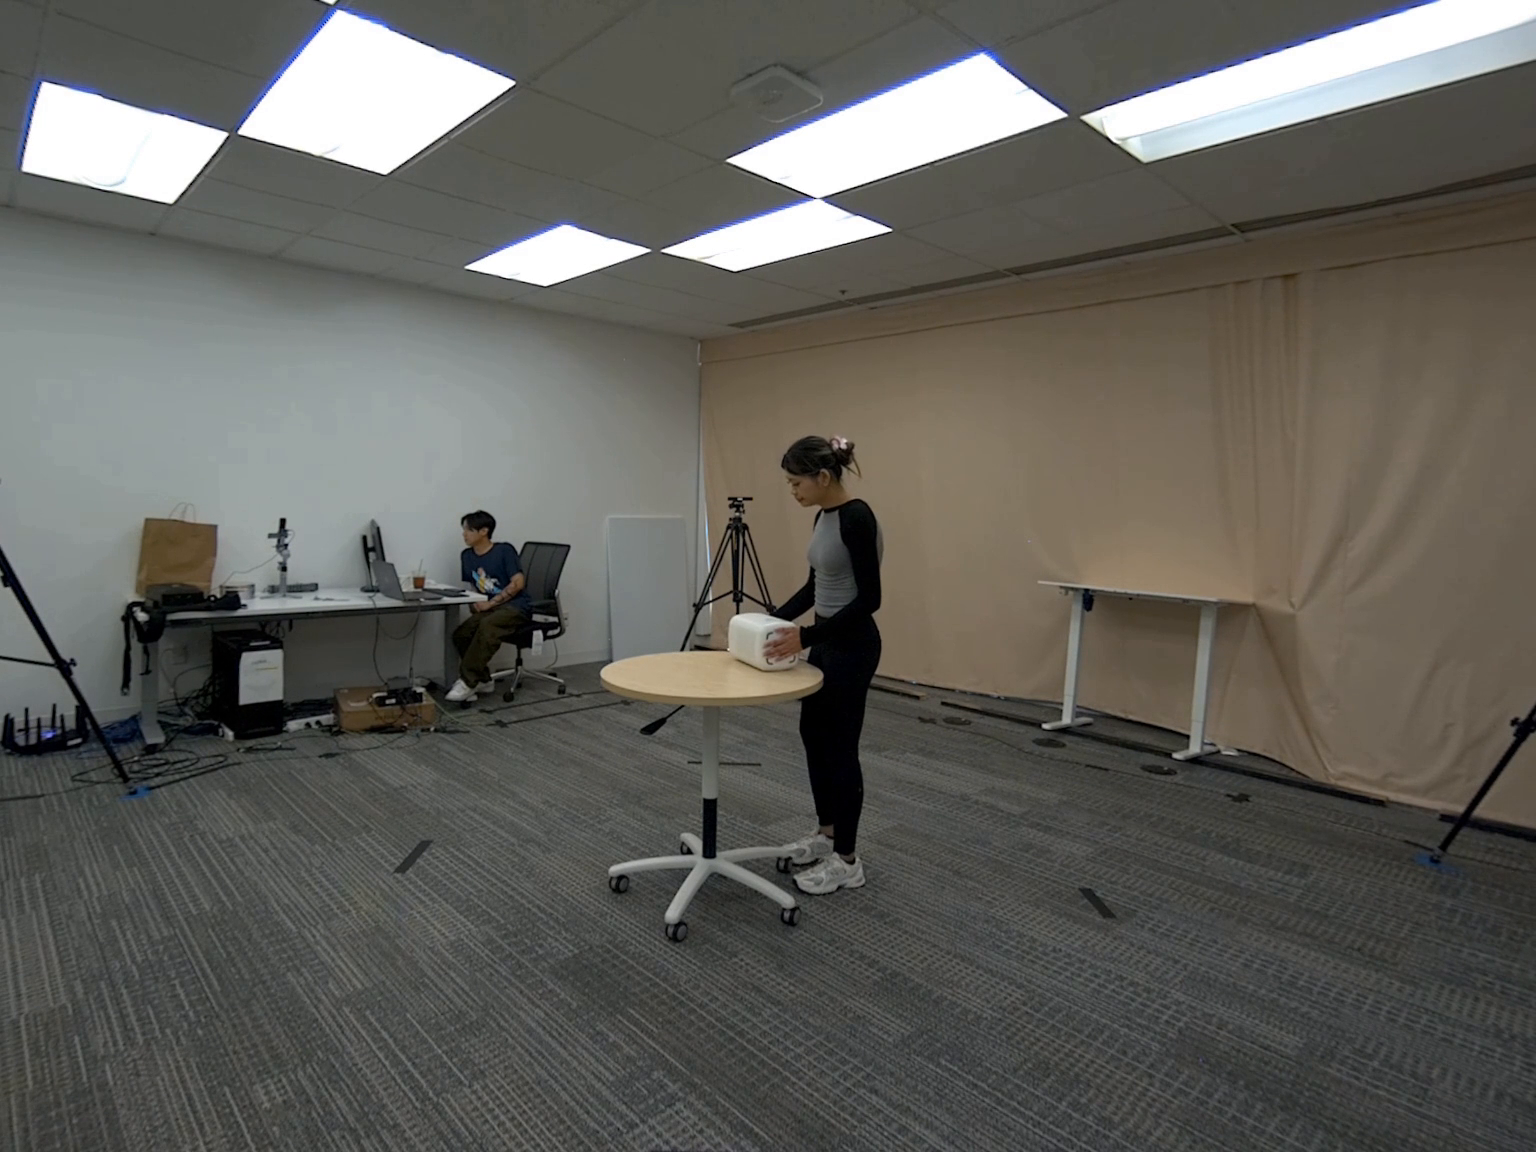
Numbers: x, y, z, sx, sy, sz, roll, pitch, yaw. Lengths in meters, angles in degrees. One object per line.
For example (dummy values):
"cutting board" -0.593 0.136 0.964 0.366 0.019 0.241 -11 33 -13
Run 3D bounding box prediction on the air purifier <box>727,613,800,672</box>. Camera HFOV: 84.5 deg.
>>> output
"air purifier" -0.020 0.235 3.021 0.168 0.171 0.271 0 5 -26
